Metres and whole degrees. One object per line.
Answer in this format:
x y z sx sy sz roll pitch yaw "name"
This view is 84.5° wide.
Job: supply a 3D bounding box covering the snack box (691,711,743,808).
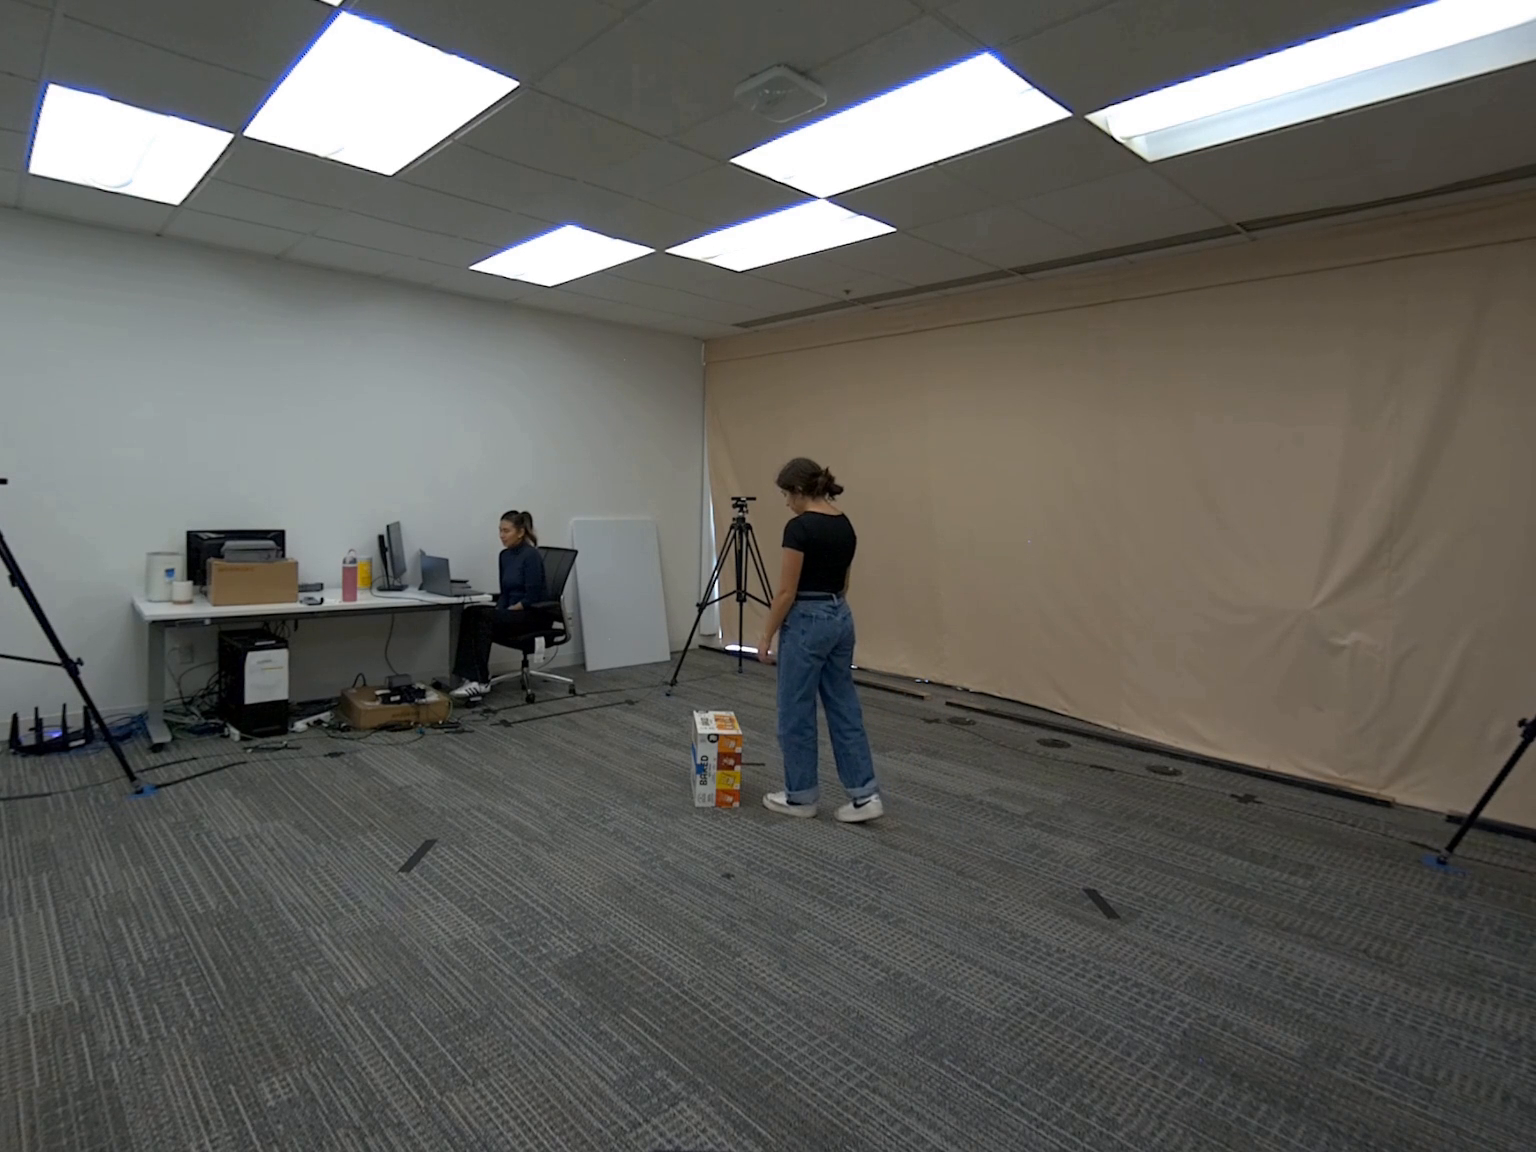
-0.257 0.855 3.993 0.204 0.339 0.408 3 4 -7 "snack box"
